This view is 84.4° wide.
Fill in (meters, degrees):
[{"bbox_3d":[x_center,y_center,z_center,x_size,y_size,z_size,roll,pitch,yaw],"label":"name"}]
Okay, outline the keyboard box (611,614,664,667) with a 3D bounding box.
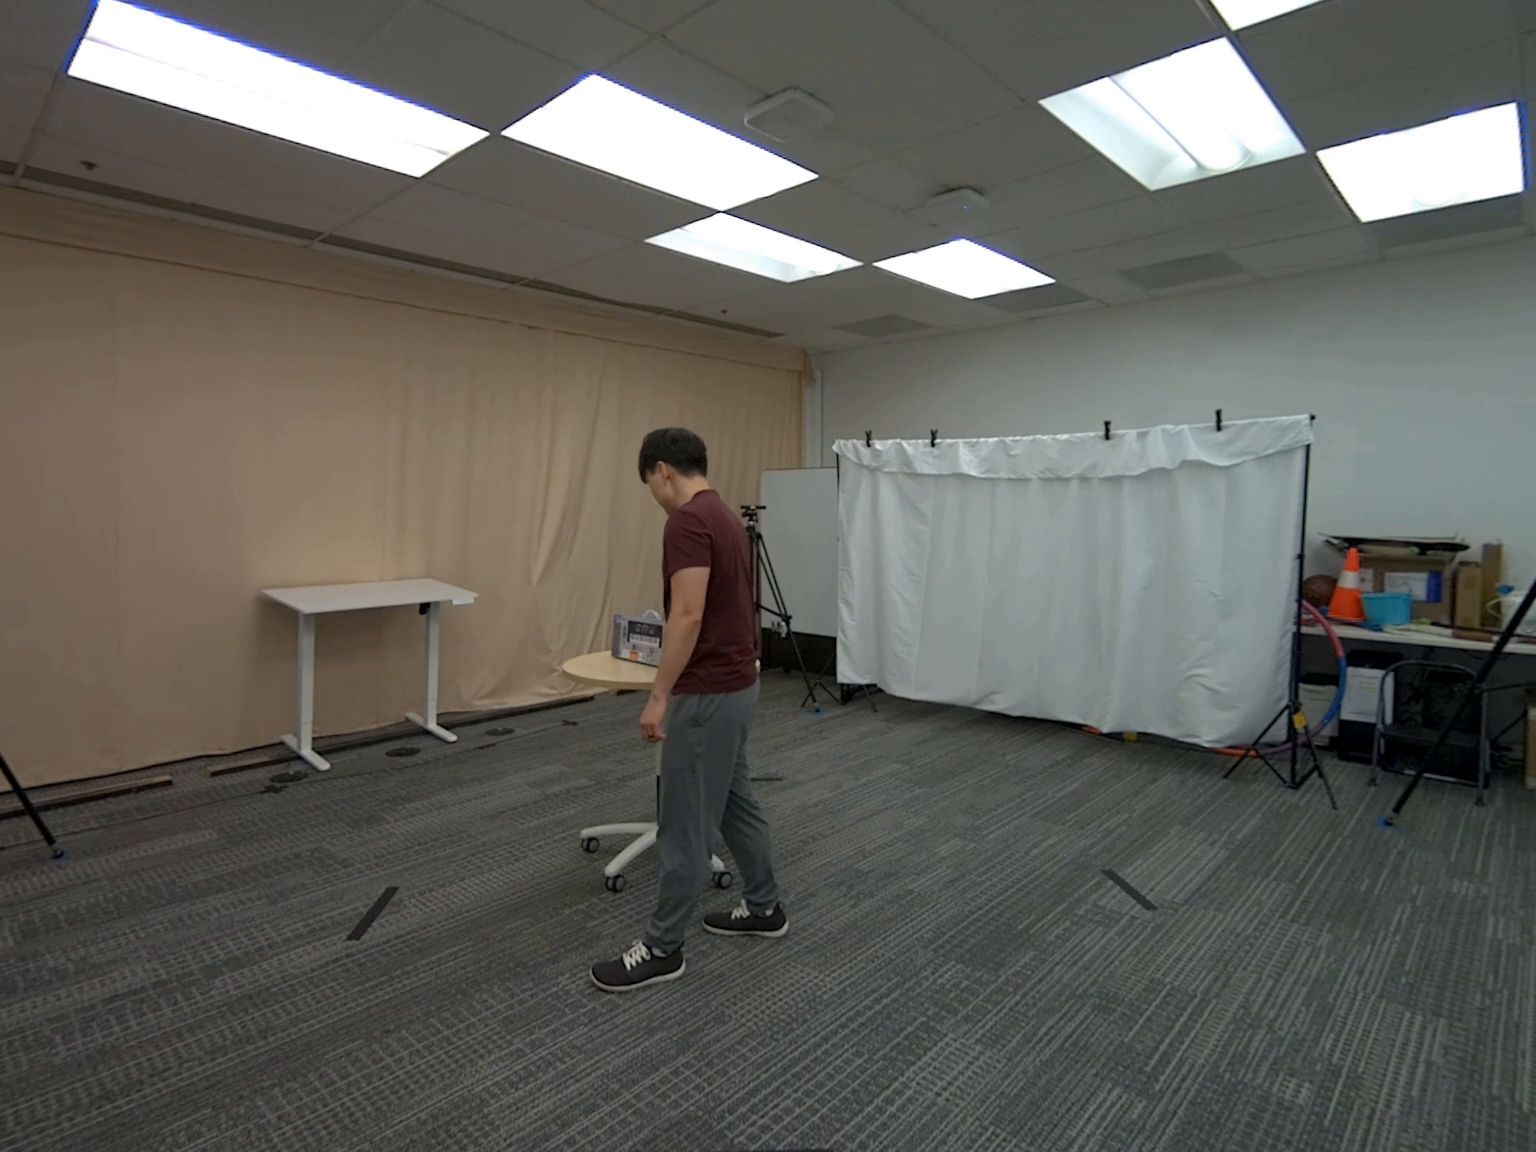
[{"bbox_3d":[-0.458,0.254,3.274,0.057,0.176,0.451,5,-1,-42],"label":"keyboard box"}]
